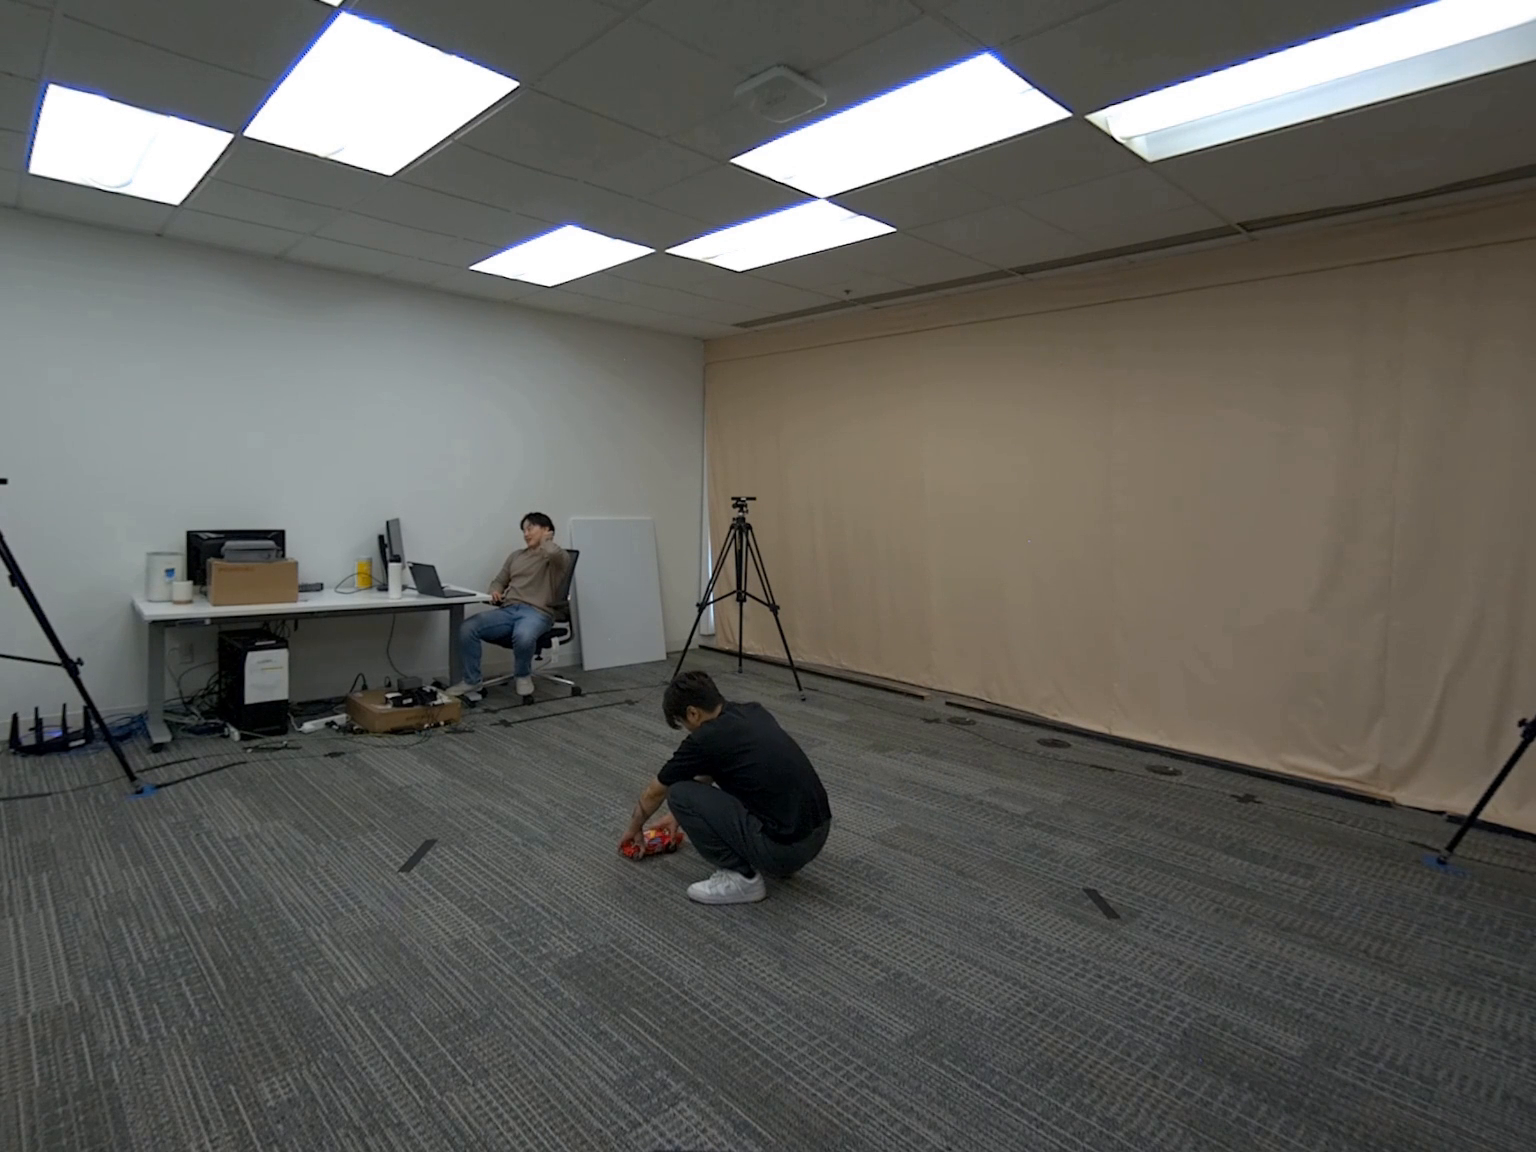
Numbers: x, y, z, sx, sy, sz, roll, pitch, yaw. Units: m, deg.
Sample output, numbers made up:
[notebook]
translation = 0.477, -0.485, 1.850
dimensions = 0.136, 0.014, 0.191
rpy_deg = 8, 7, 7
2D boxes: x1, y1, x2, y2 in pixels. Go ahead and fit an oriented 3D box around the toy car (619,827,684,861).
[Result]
[toy car]
translation = -0.455, 1.048, 3.305
dimensions = 0.250, 0.083, 0.133
rpy_deg = -15, 8, -34
